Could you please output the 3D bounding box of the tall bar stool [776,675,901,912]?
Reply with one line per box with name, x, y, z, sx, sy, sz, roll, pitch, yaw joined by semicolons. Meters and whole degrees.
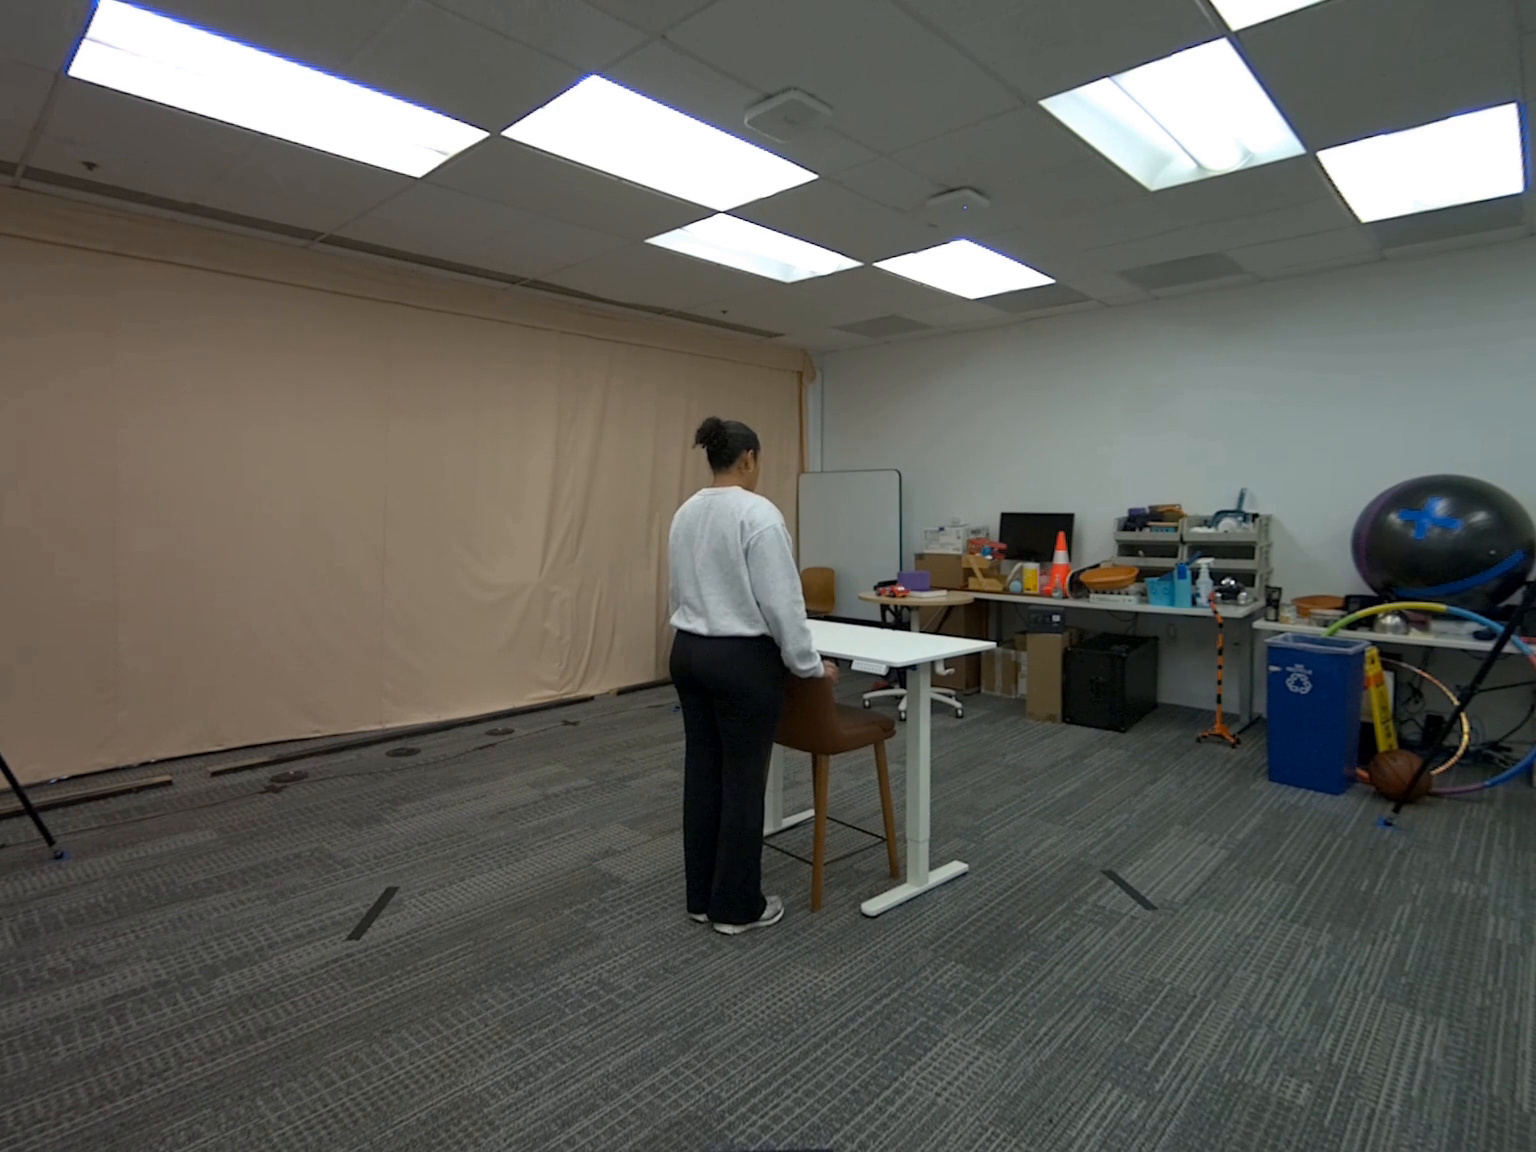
tall bar stool;0.186;0.692;3.132;0.454;0.886;0.472;-6;7;-42
